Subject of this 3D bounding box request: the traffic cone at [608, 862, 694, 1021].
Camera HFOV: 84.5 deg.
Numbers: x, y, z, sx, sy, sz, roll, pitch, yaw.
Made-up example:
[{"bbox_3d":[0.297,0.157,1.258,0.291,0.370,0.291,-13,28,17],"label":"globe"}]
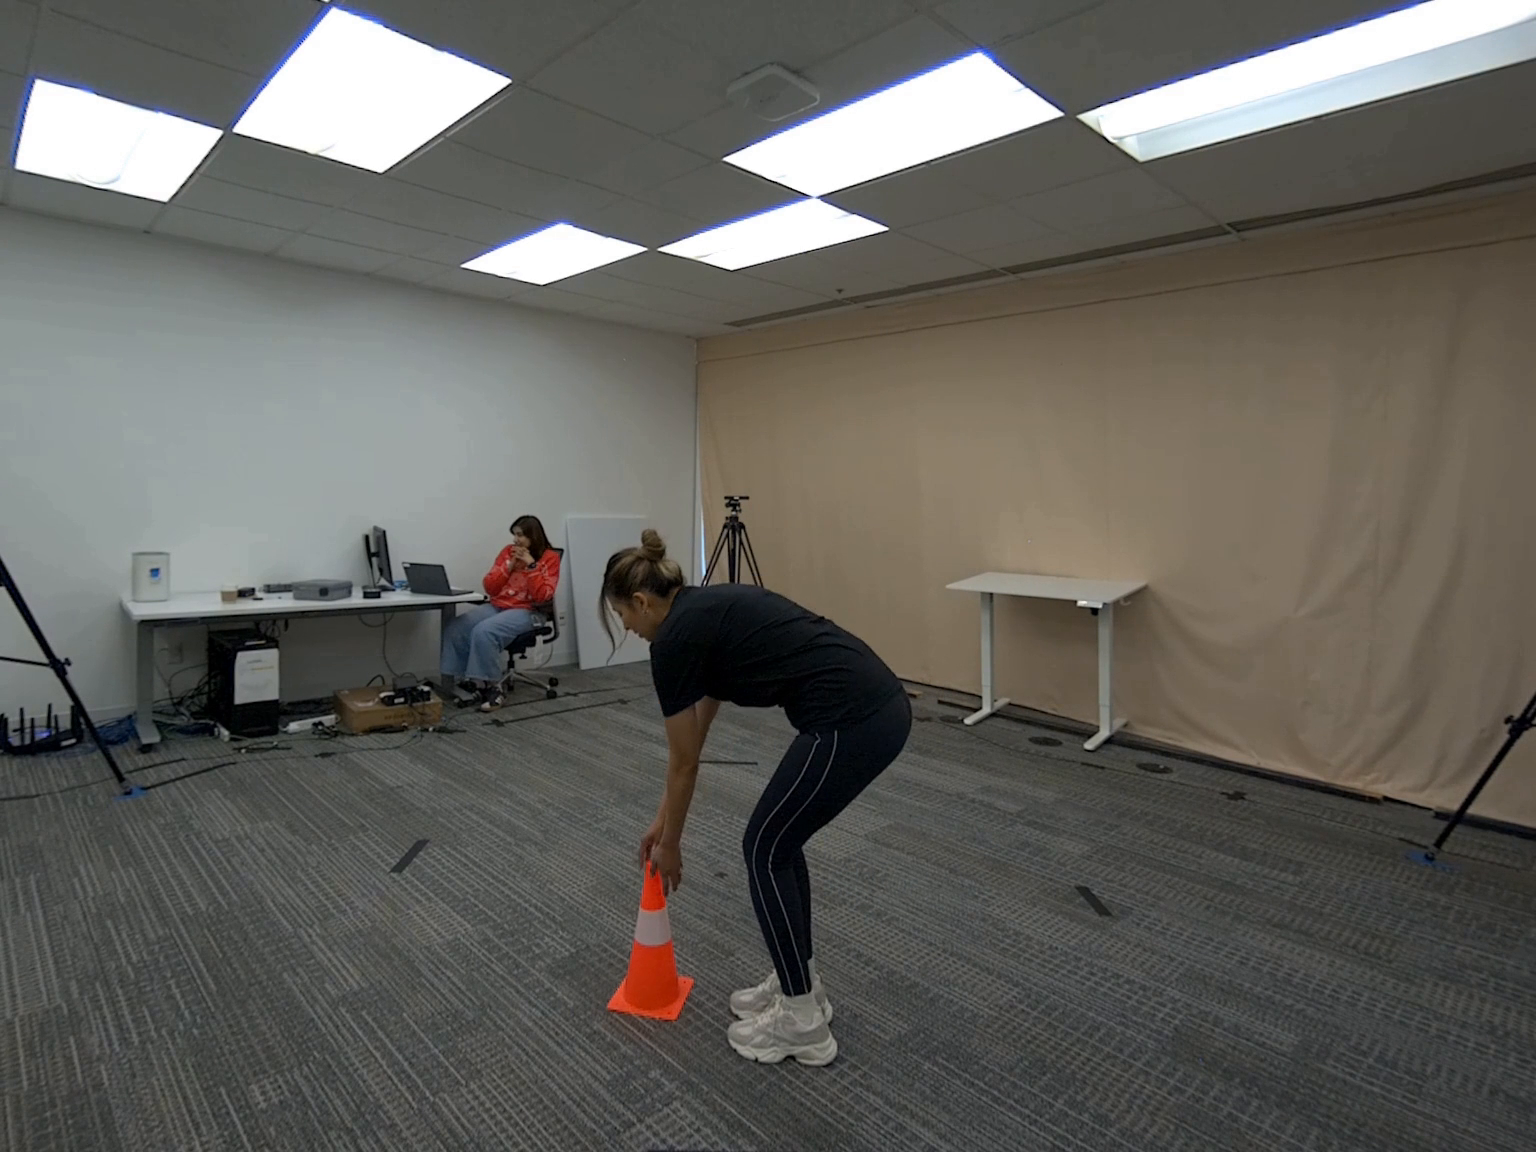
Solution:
[{"bbox_3d":[-0.324,0.985,2.336,0.206,0.383,0.203,3,4,16],"label":"traffic cone"}]
